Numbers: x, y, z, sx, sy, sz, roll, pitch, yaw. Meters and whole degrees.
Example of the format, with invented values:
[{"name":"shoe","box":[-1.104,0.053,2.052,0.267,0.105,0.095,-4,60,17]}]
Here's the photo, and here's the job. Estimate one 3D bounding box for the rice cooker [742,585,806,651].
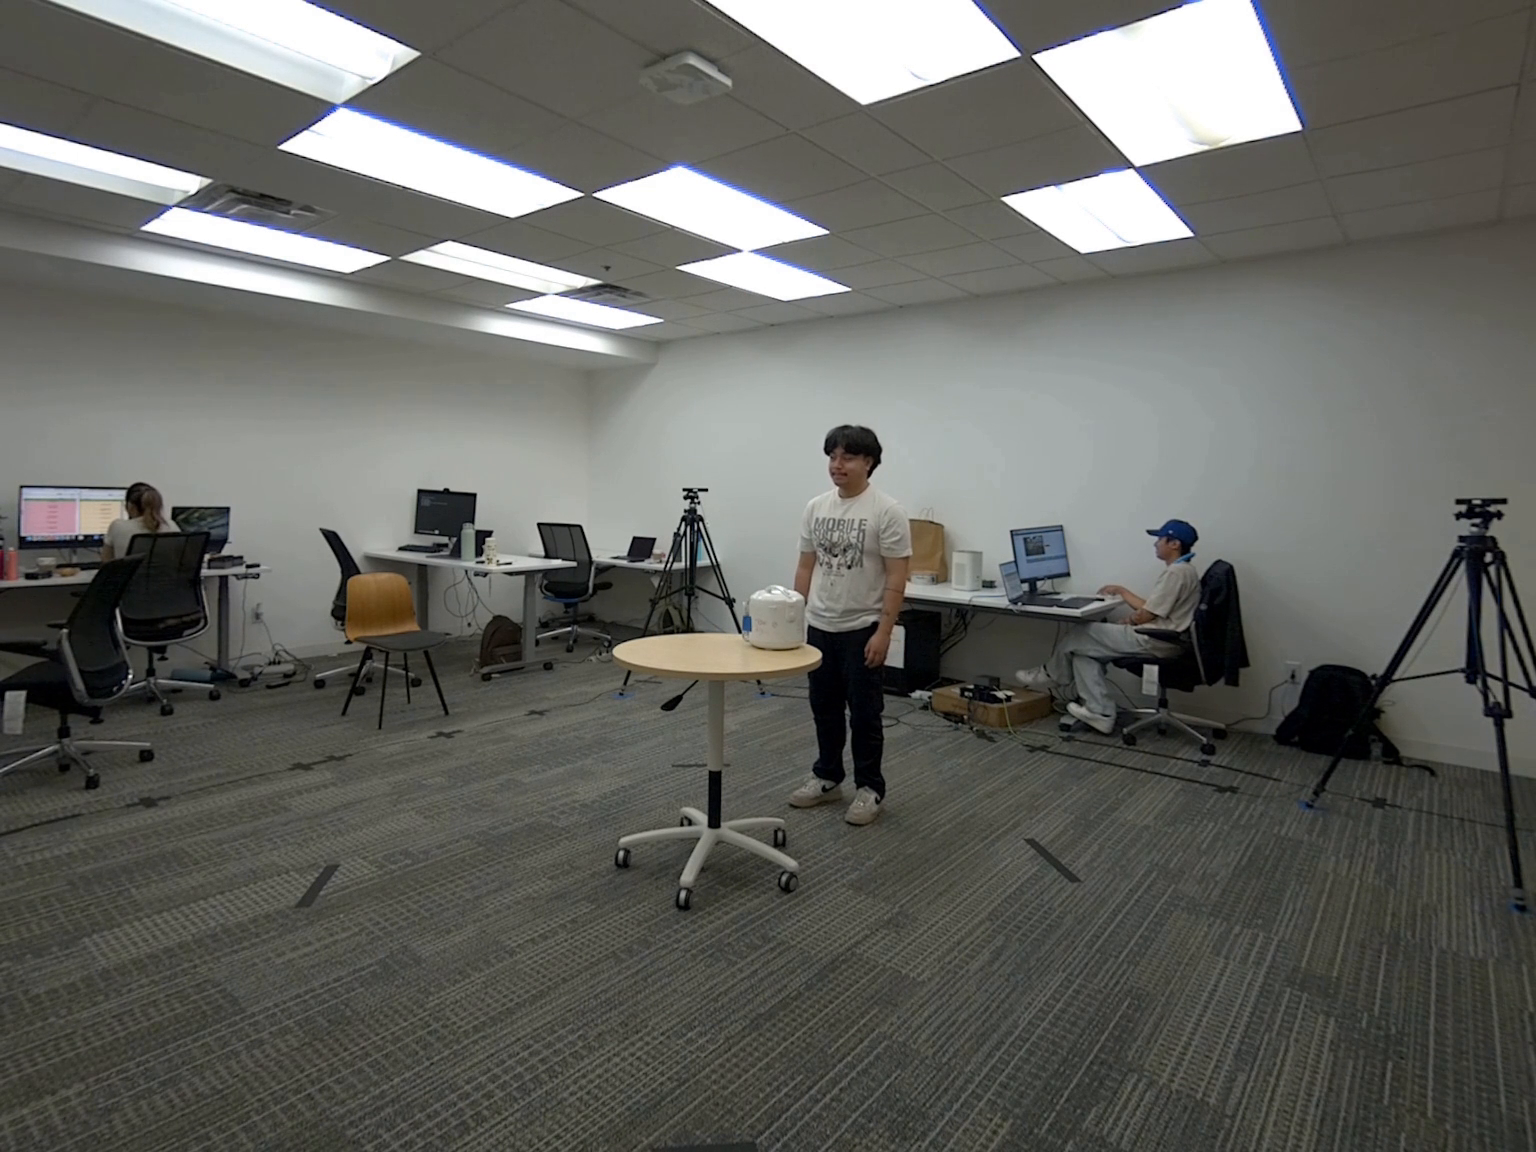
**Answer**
[{"name":"rice cooker","box":[0.025,0.149,3.225,0.212,0.232,0.227,-2,6,-28]}]
